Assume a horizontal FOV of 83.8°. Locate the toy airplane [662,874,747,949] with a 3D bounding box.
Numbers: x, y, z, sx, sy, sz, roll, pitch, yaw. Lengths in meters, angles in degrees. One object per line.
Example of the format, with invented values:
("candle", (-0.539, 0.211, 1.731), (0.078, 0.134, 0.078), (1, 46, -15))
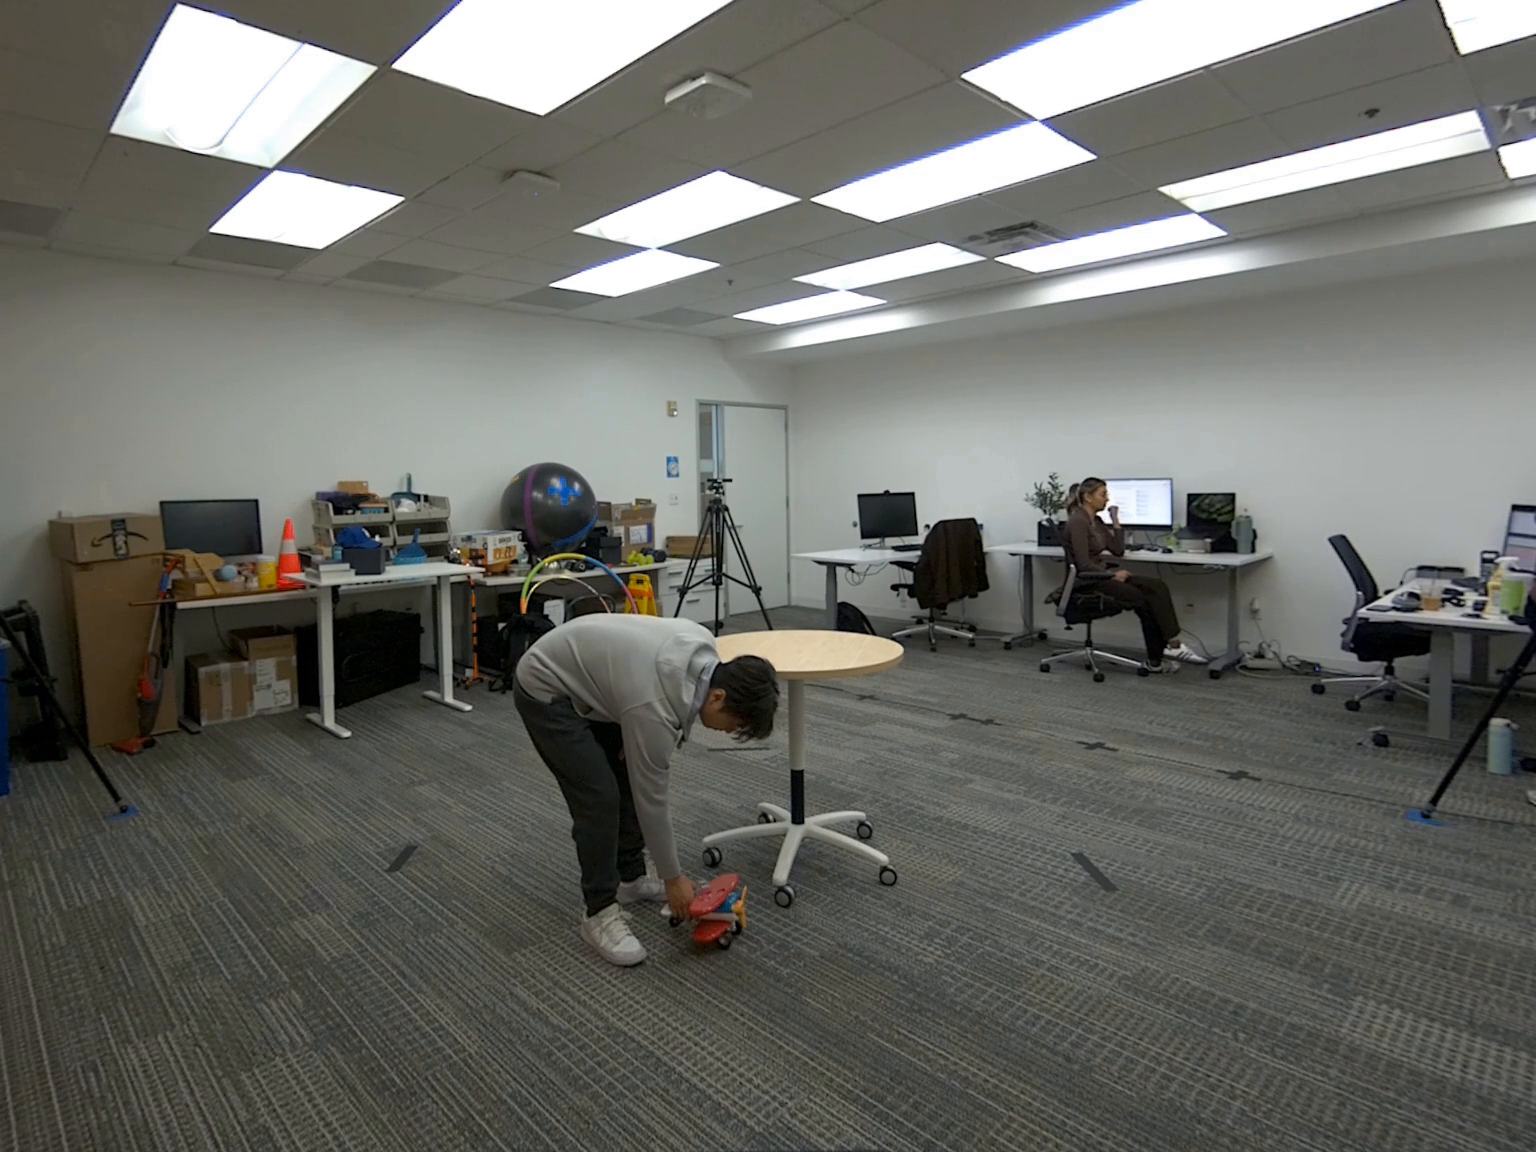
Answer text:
("toy airplane", (-0.190, 1.028, 2.599), (0.258, 0.155, 0.254), (3, 9, -6))
